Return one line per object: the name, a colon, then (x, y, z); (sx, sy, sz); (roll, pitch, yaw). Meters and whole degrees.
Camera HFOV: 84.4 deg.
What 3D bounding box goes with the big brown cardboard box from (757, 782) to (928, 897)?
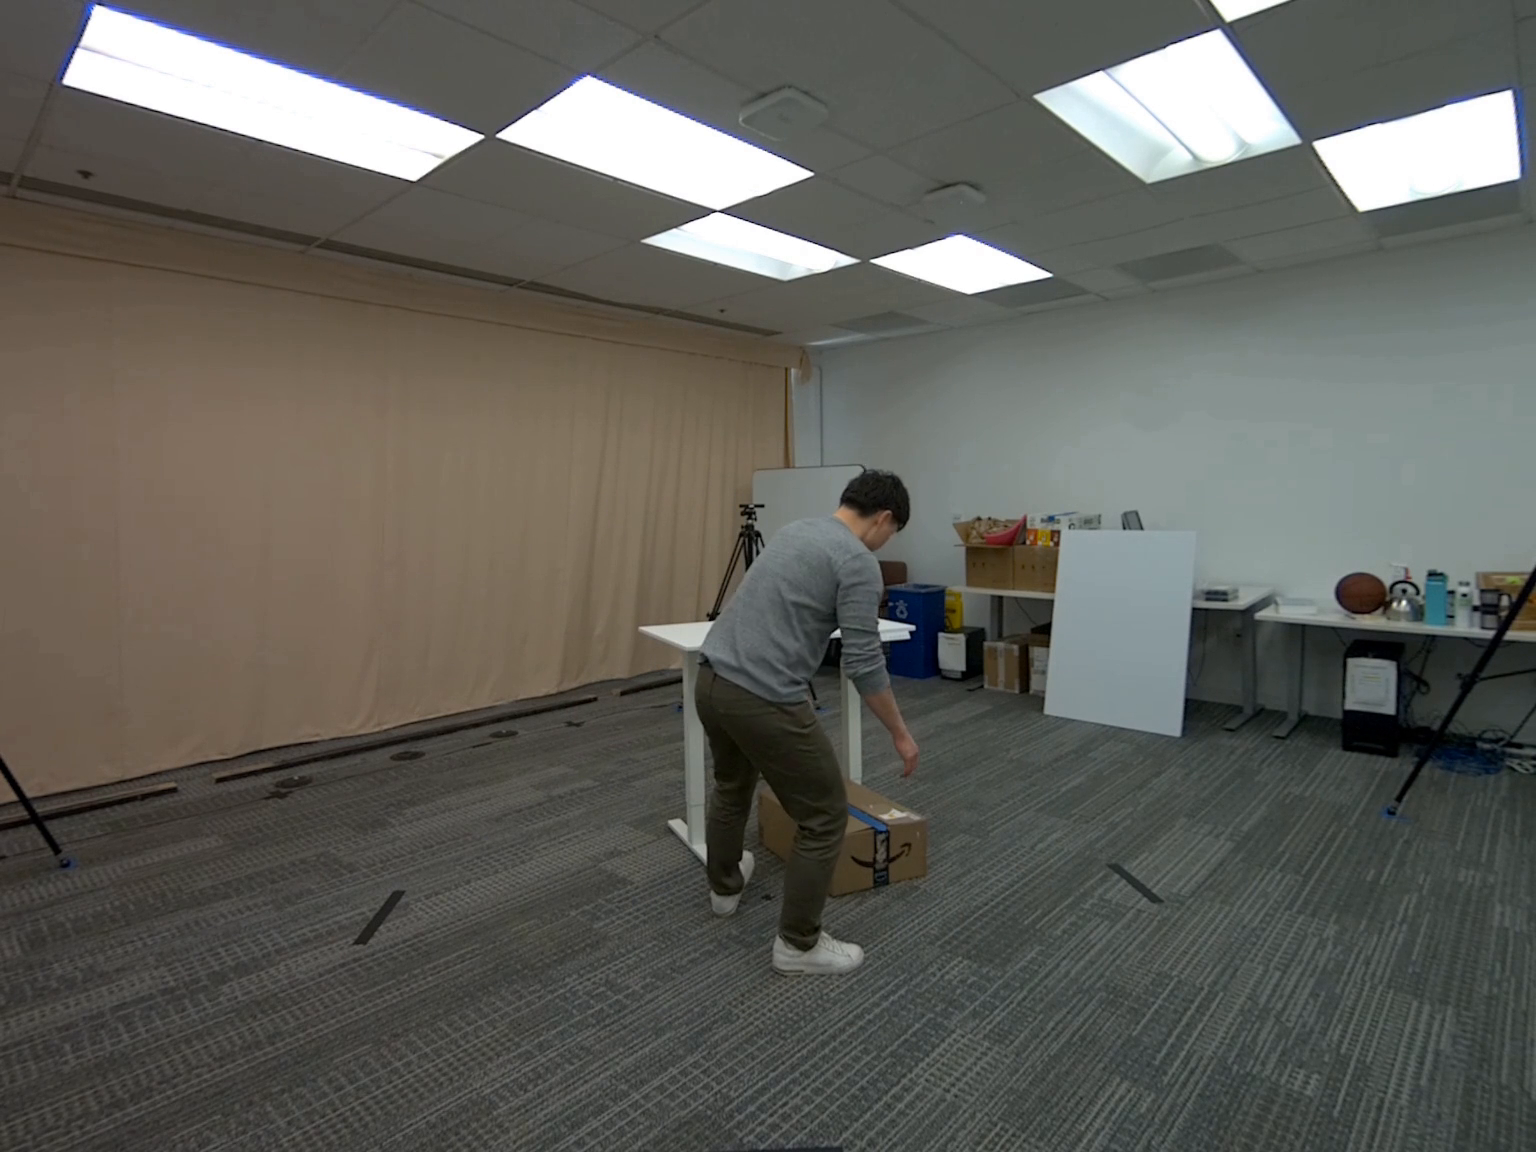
big brown cardboard box: (0.283, 0.995, 3.296); (0.407, 0.232, 0.605); (-3, 4, -27)
